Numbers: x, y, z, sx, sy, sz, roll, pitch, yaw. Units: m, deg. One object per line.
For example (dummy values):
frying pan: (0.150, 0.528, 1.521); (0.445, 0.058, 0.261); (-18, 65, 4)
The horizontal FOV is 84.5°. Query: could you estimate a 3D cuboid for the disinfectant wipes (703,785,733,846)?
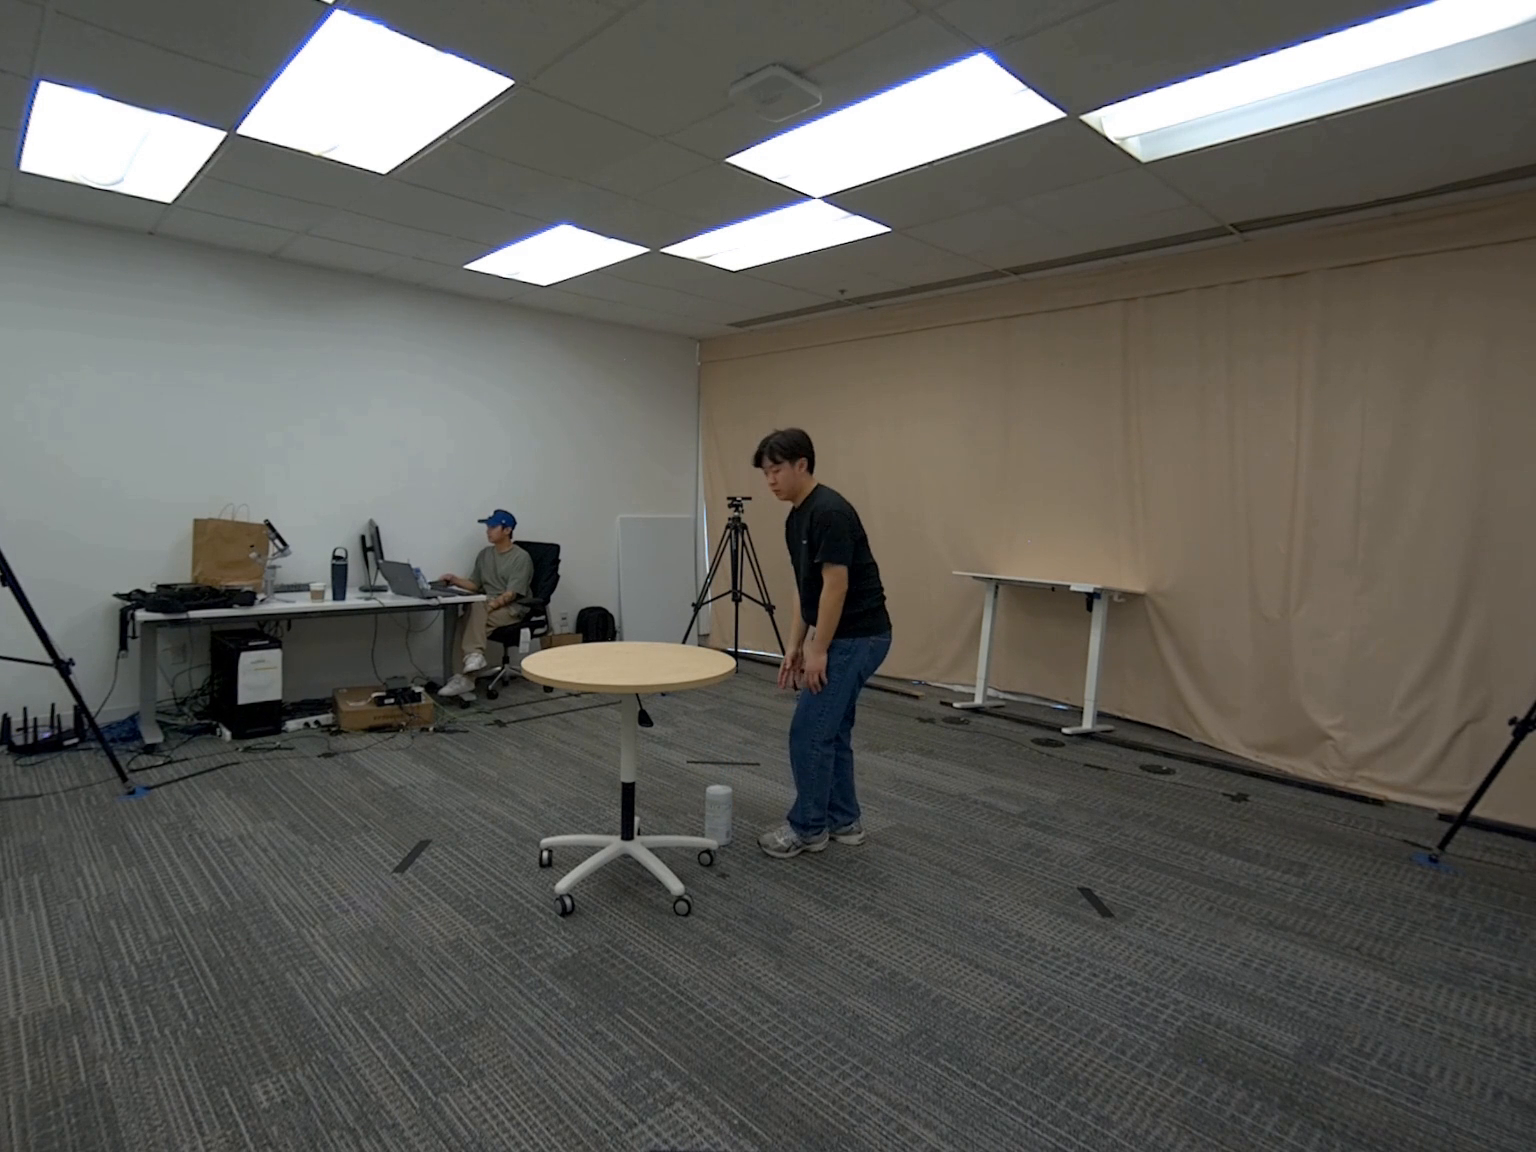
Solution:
disinfectant wipes: (-0.197, 0.972, 3.424); (0.118, 0.217, 0.118); (0, 2, -1)
